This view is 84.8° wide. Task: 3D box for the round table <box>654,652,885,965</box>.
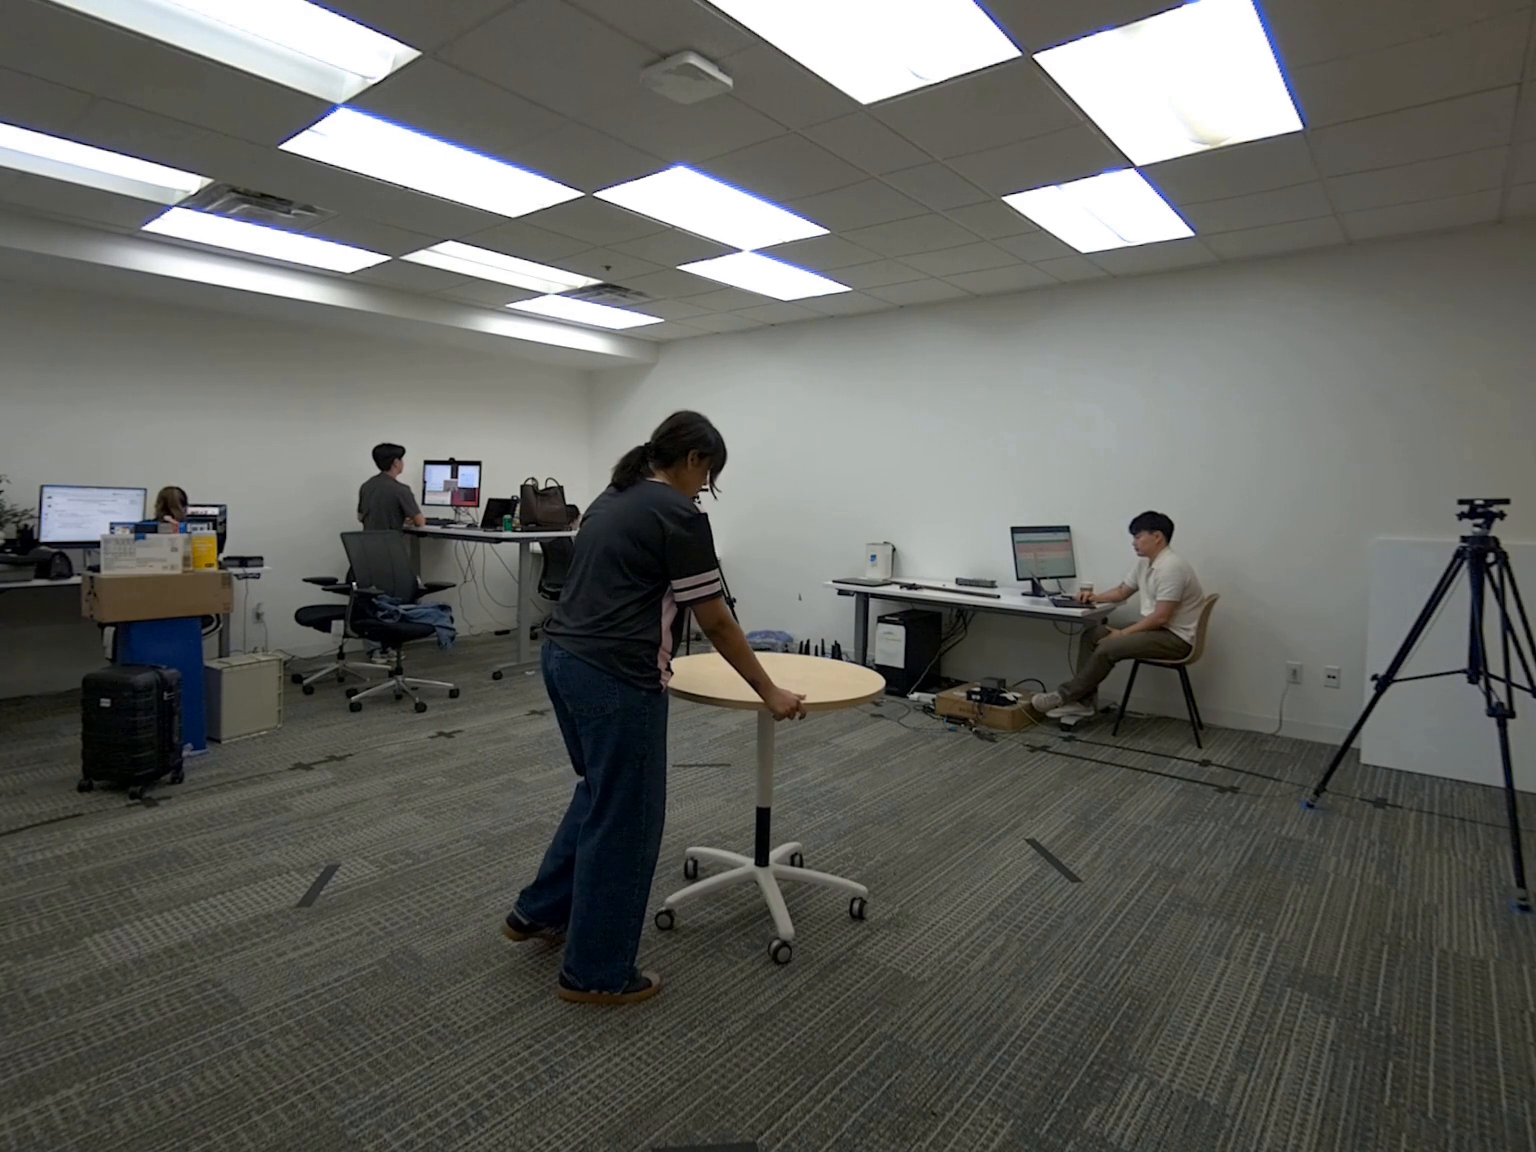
[{"bbox_3d":[-0.038,0.707,2.822,0.784,0.784,0.789,2,4,-2],"label":"round table"}]
